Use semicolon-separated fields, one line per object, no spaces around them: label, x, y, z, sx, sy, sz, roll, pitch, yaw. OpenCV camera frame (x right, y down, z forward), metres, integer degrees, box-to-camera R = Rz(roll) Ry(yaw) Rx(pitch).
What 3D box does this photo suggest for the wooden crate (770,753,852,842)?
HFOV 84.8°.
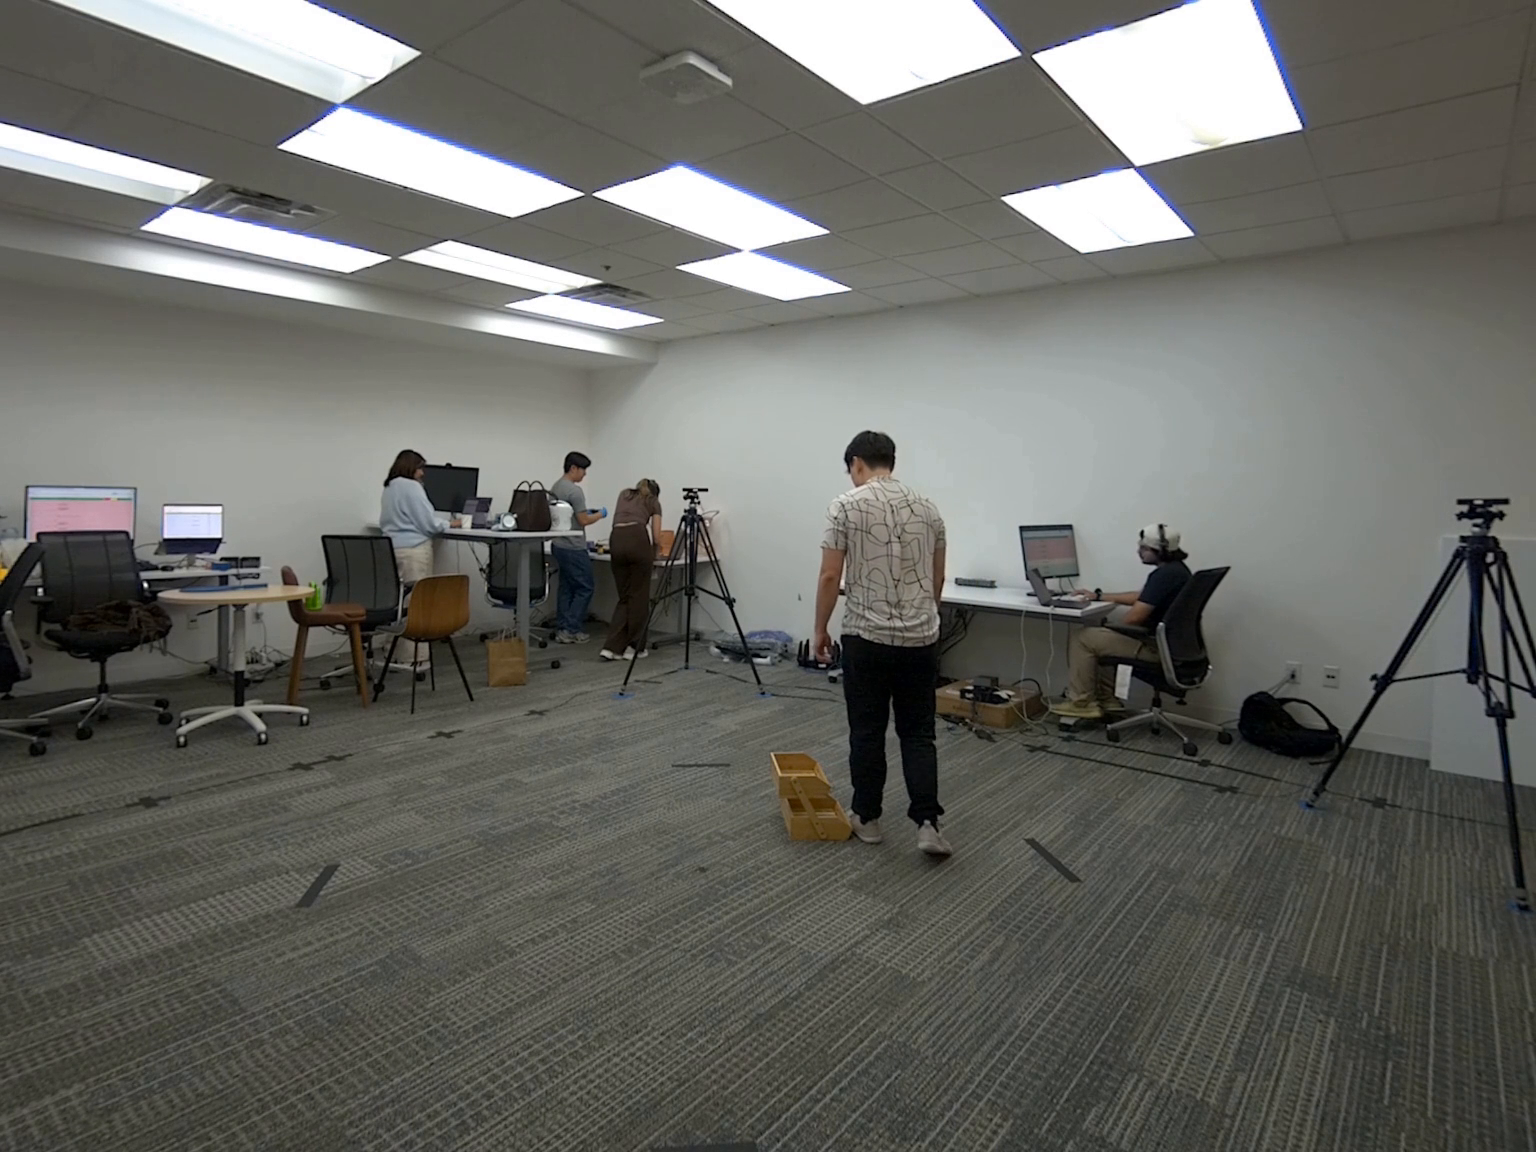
wooden crate;0.174;0.902;3.545;0.300;0.272;0.328;0;5;-6
